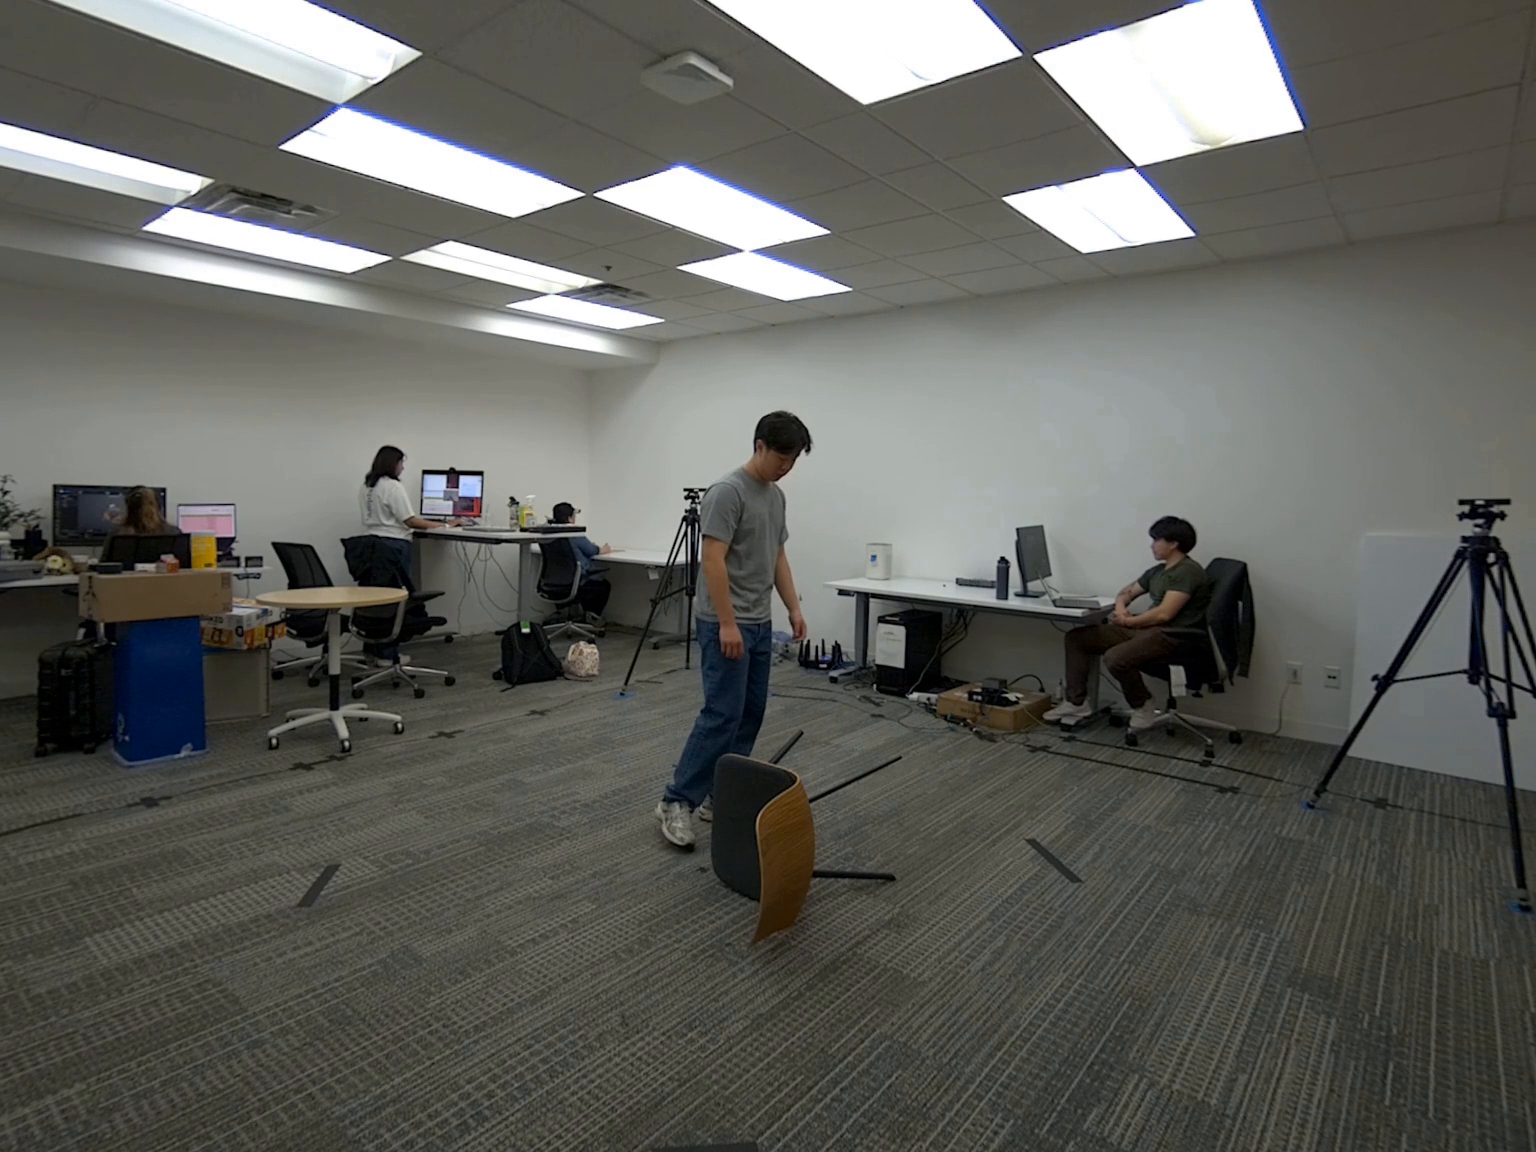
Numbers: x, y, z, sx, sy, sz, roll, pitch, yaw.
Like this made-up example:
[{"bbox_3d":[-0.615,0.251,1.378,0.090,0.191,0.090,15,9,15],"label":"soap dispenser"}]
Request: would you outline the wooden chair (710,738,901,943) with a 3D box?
[{"bbox_3d":[0.013,0.863,2.896,0.540,0.477,0.852,5,5,36],"label":"wooden chair"}]
